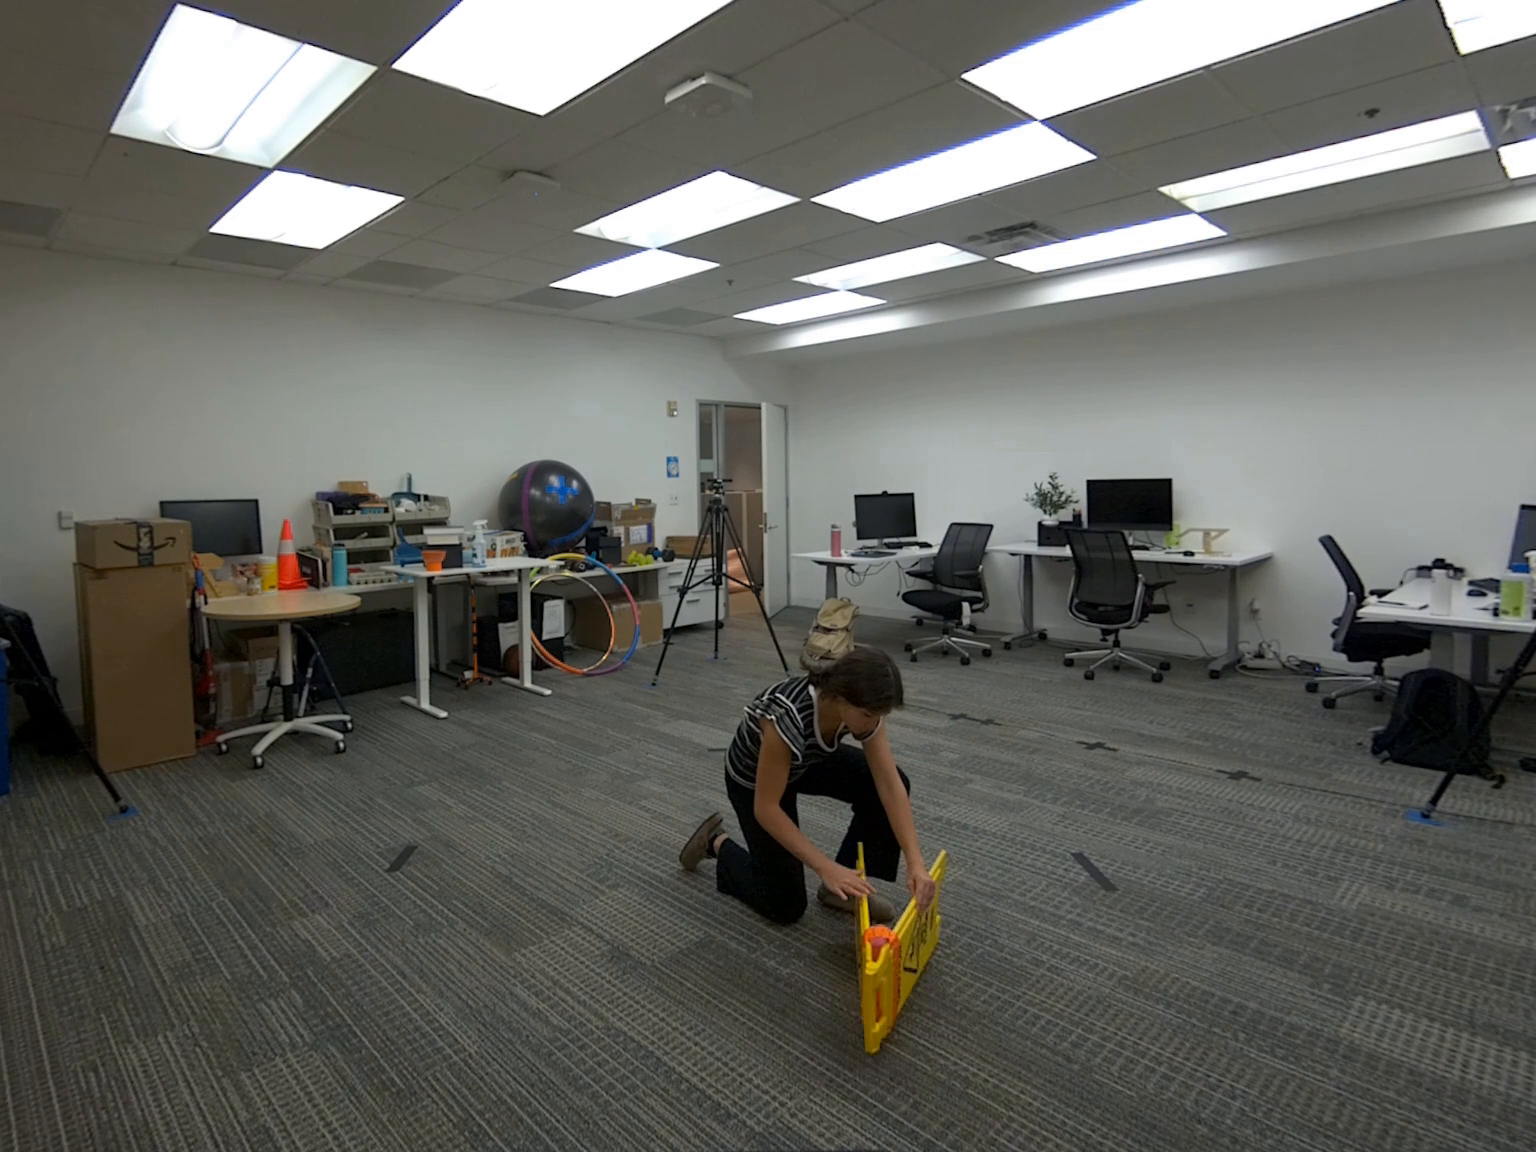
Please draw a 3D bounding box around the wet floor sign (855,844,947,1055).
[{"bbox_3d":[0.319,0.985,2.287,0.294,0.281,0.639,1,7,15],"label":"wet floor sign"}]
